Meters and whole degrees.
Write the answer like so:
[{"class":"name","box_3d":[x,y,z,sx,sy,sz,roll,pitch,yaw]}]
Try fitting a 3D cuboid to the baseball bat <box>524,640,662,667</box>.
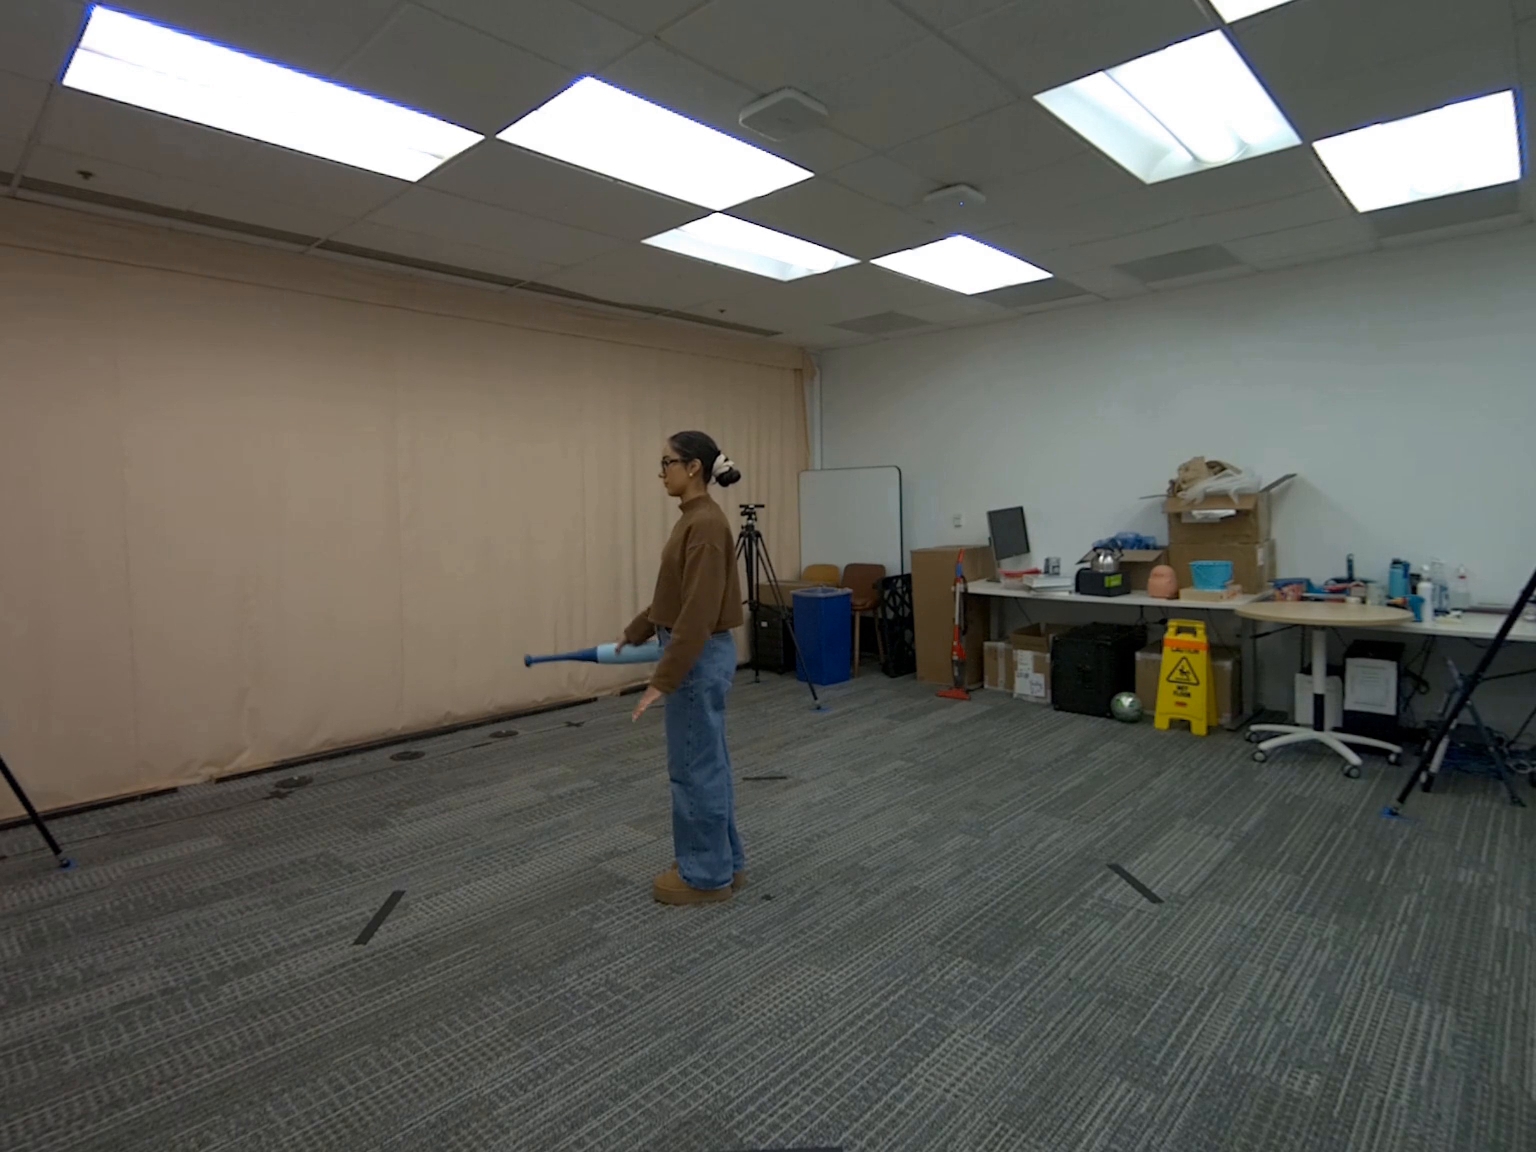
[{"class":"baseball bat","box_3d":[-0.675,0.310,3.306,0.542,0.089,0.089,-4,4,-2]}]
